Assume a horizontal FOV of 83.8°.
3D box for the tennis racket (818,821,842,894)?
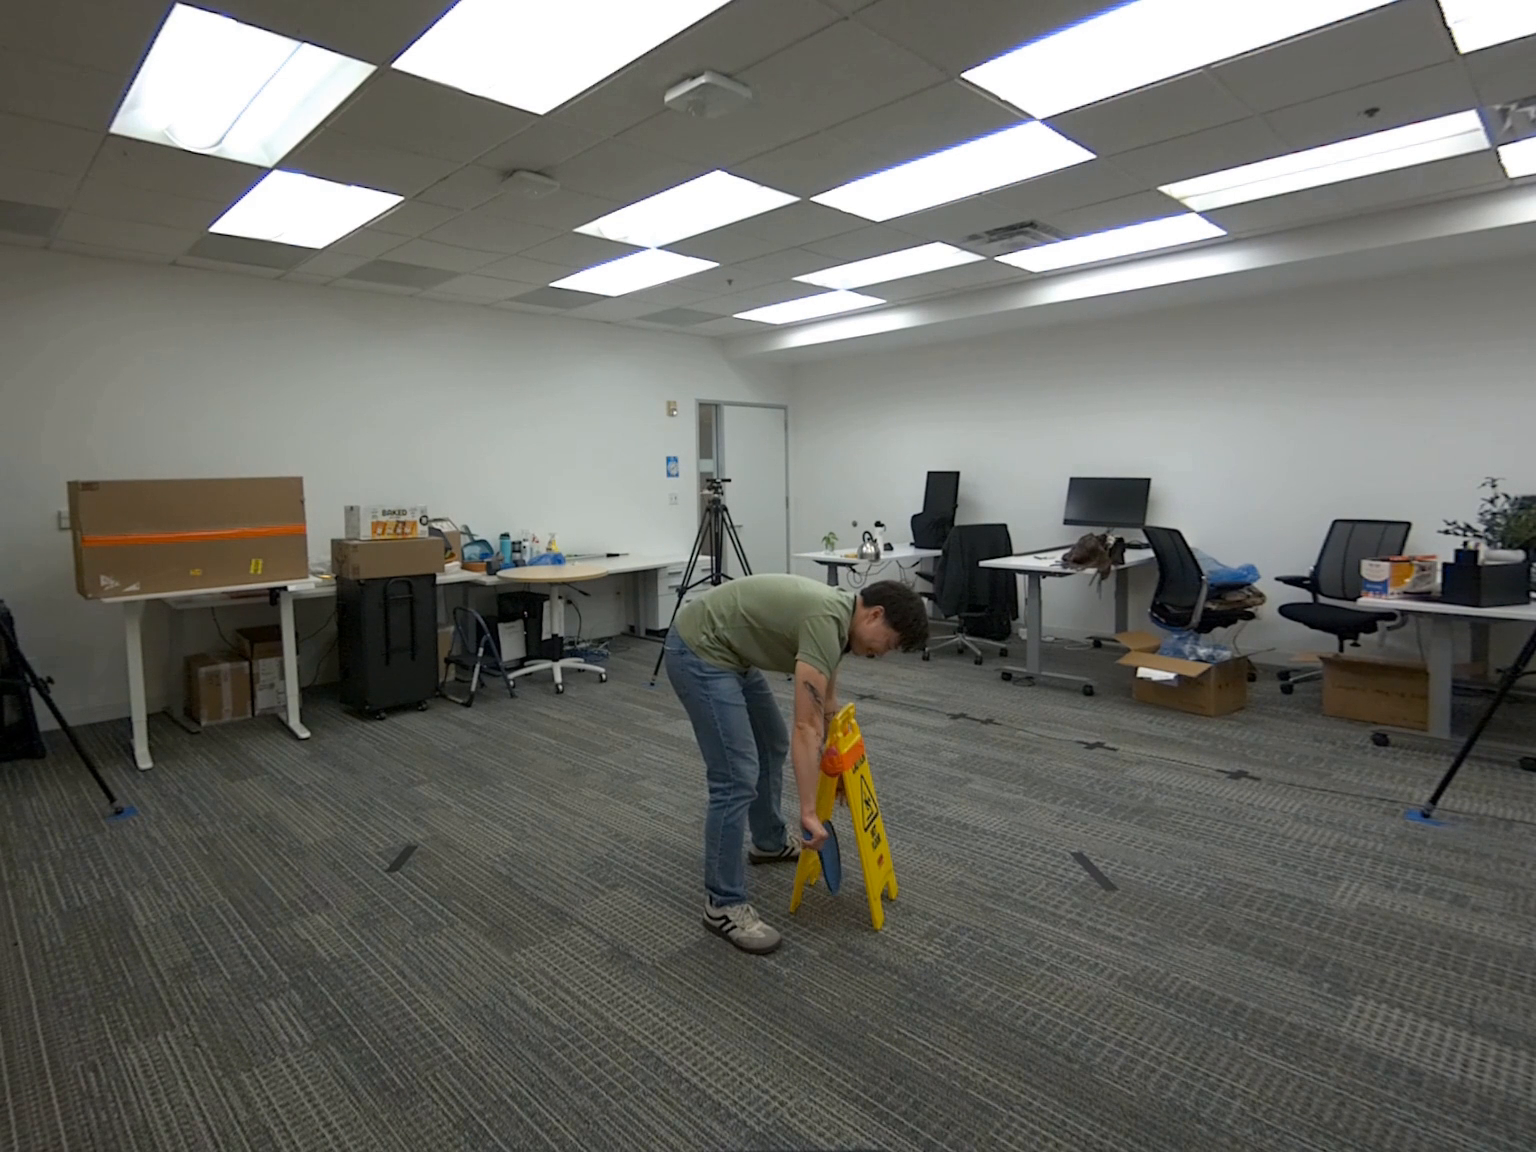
[{"bbox_3d":[0.174,0.842,2.617,0.032,0.219,0.419,-6,-31,7],"label":"tennis racket"}]
